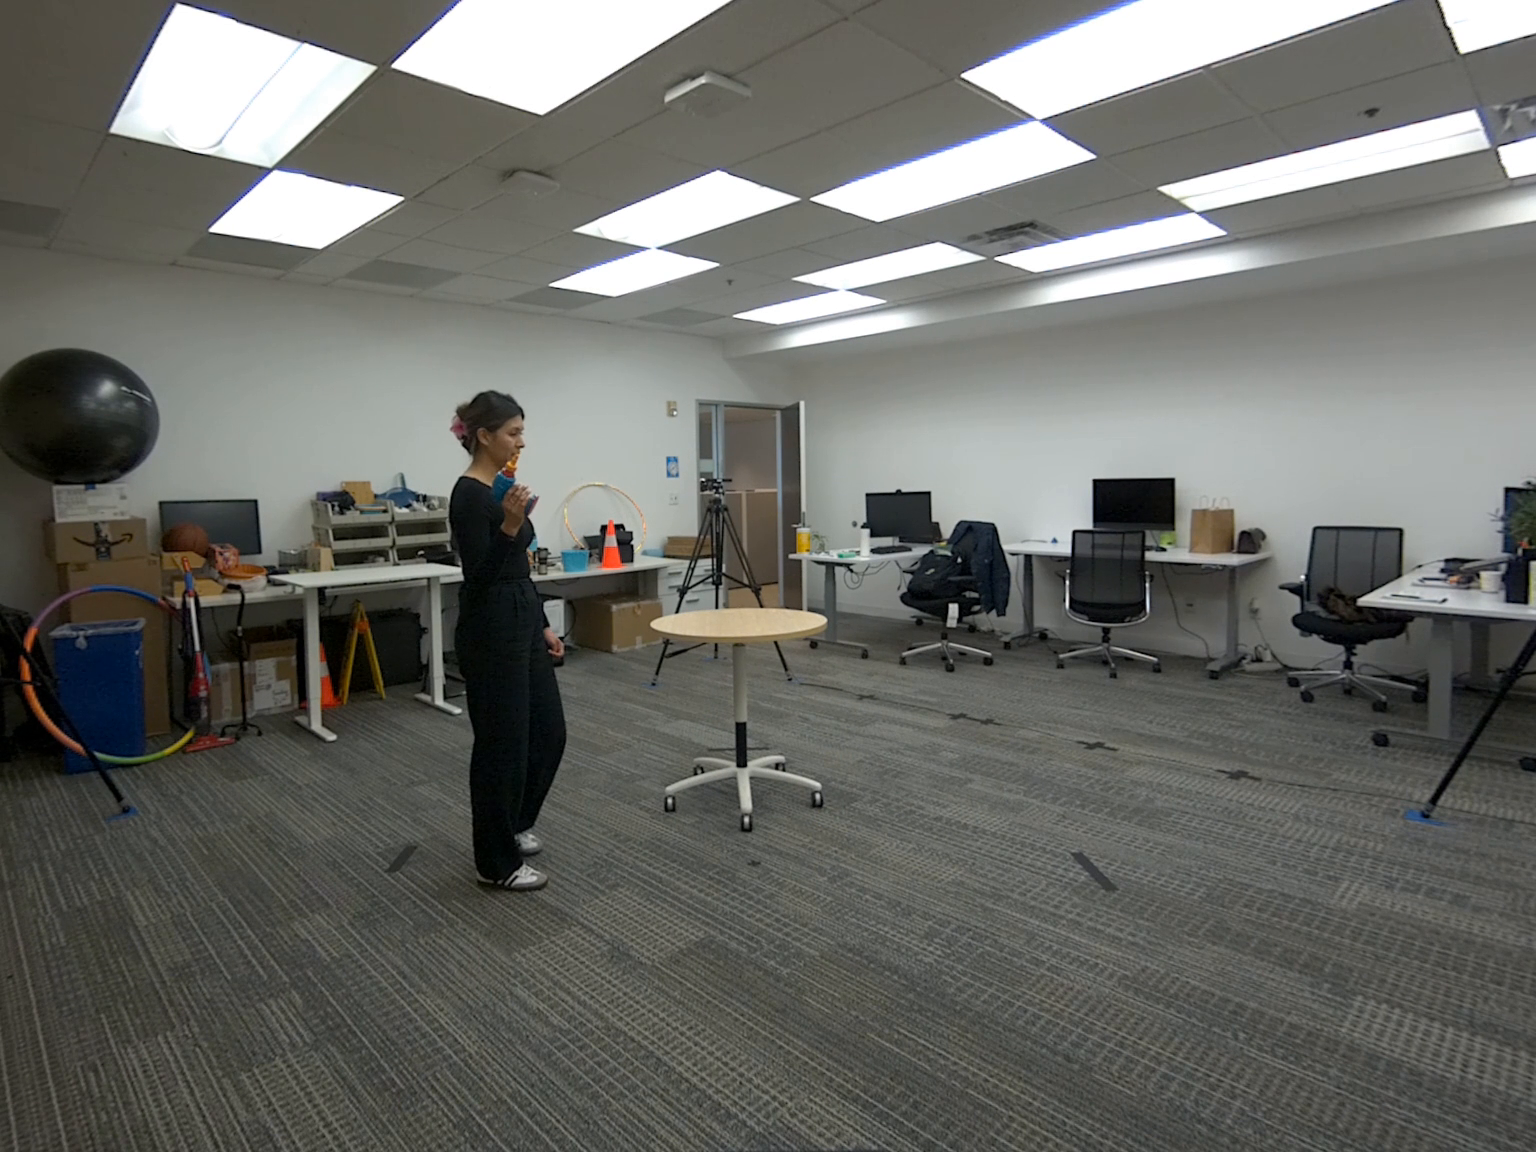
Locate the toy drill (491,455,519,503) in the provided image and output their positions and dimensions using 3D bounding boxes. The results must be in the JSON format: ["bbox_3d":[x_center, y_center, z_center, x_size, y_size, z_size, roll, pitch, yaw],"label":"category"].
[{"bbox_3d":[-0.763,-0.282,2.607,0.145,0.169,0.062,30,15,-4],"label":"toy drill"}]
